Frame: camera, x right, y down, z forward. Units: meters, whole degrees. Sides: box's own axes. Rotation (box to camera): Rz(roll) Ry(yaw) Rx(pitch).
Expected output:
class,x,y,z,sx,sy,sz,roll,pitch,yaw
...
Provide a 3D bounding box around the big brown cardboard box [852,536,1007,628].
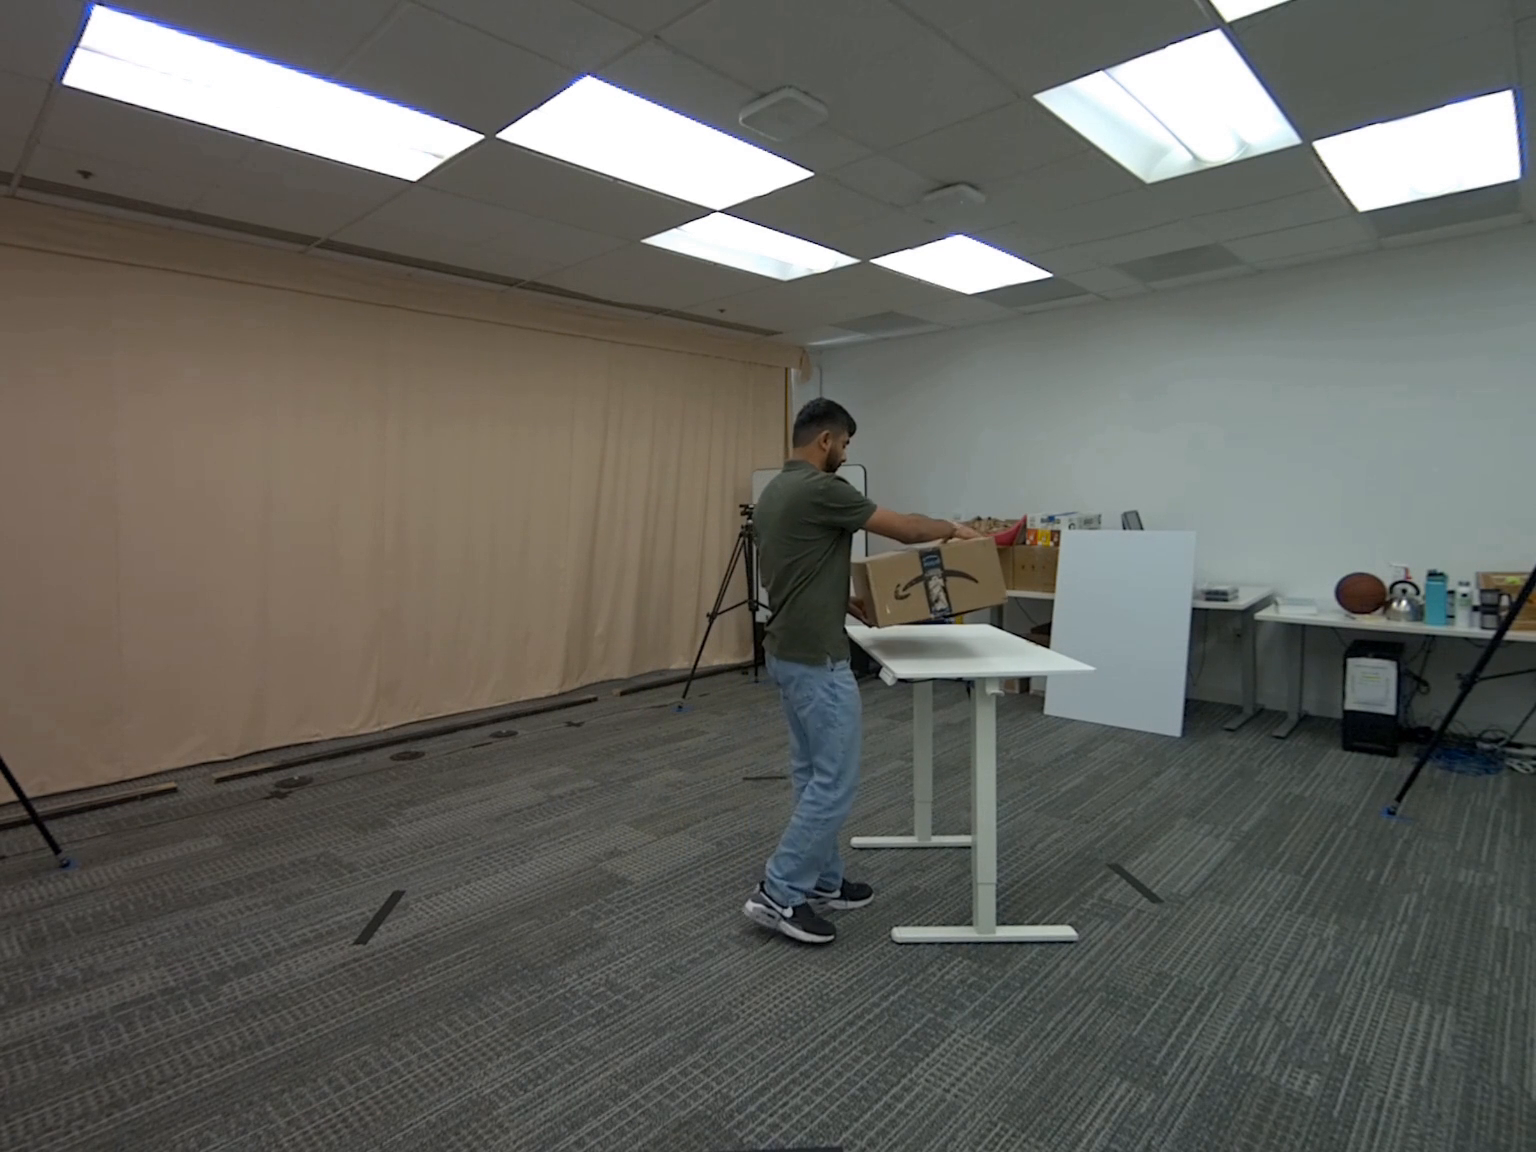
class,x,y,z,sx,sy,sz,roll,pitch,yaw
big brown cardboard box,0.527,0.015,2.924,0.418,0.233,0.588,-11,3,1
